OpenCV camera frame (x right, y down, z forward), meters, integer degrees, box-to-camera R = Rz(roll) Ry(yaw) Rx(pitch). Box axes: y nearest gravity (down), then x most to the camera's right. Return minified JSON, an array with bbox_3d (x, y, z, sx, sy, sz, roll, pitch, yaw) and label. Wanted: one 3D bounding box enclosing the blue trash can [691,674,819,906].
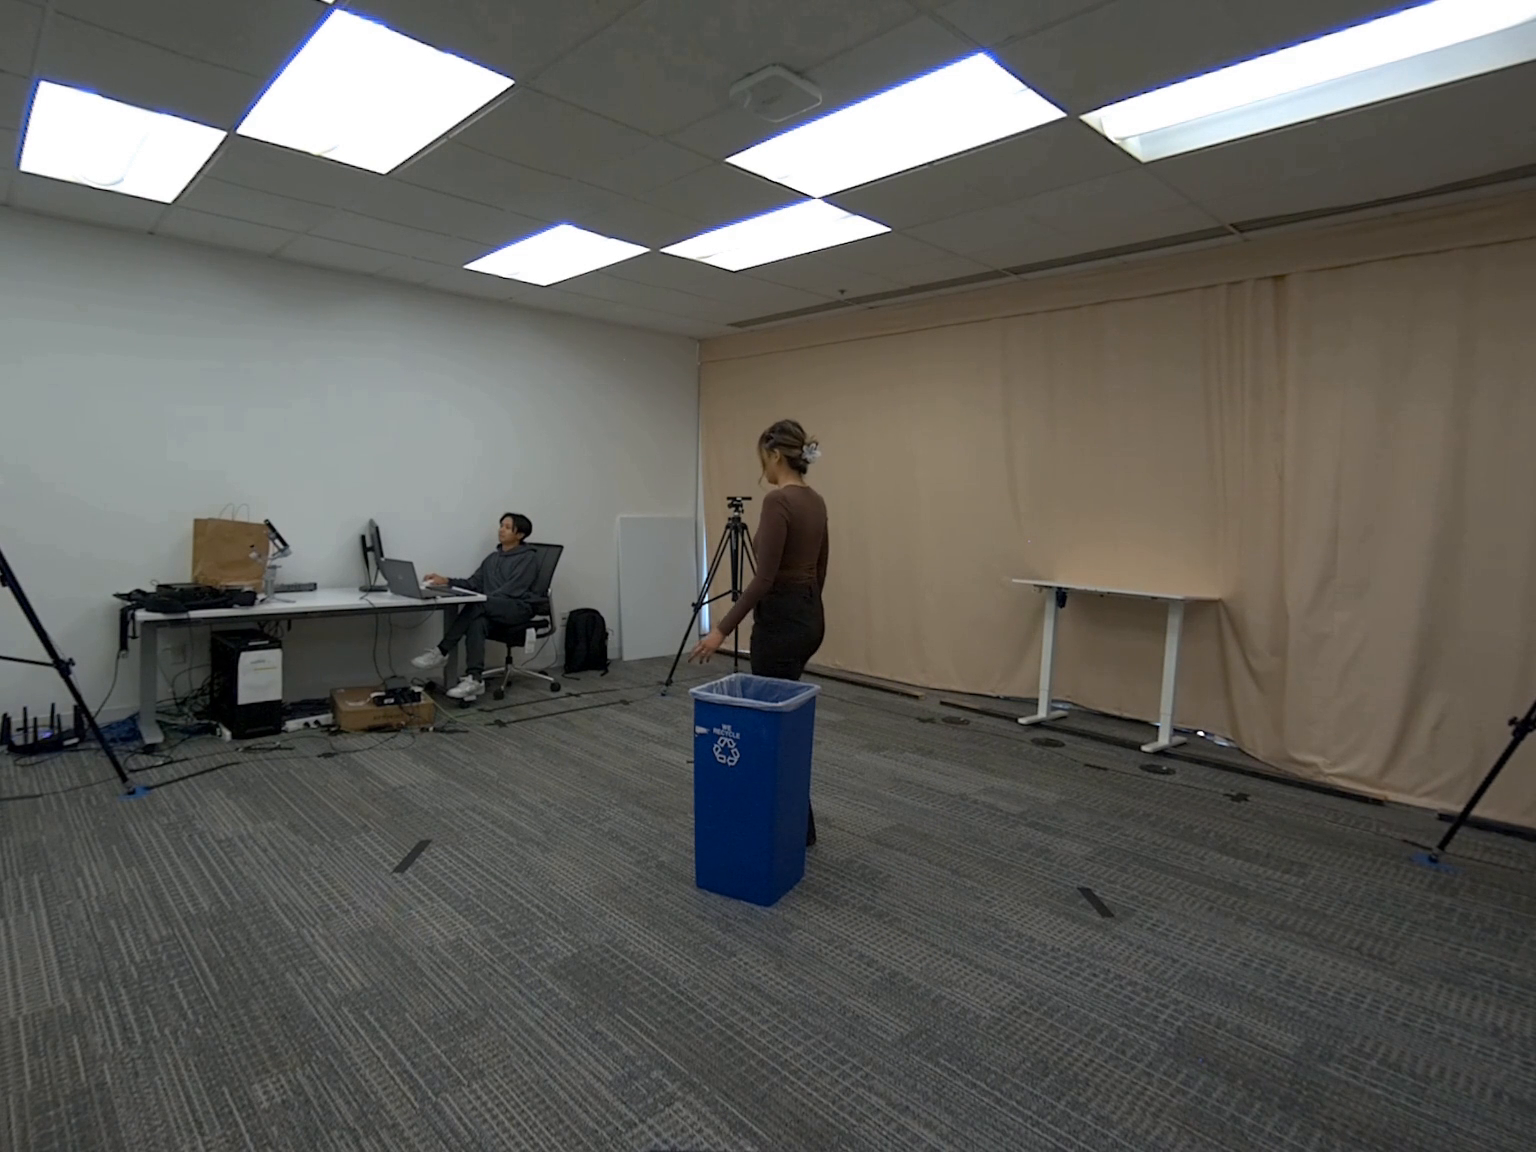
[{"bbox_3d":[-0.054,0.753,3.045,0.382,0.712,0.371,3,4,28],"label":"blue trash can"}]
